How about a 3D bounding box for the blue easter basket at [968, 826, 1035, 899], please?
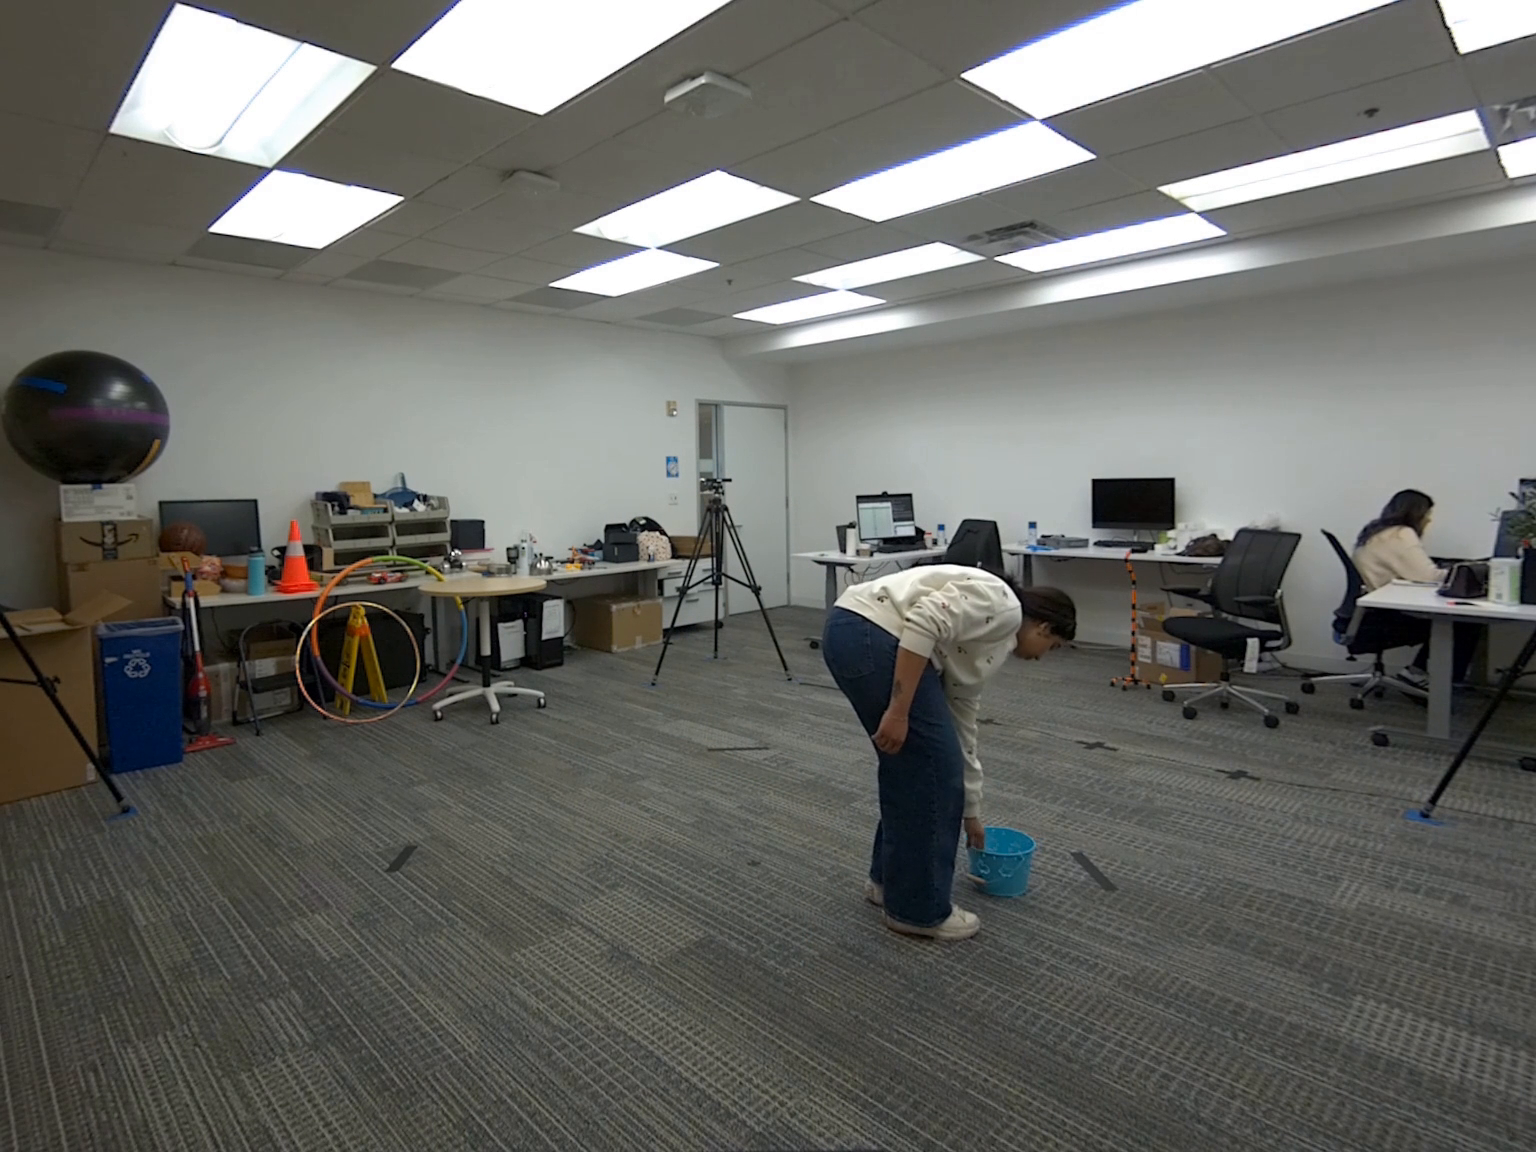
[{"bbox_3d":[0.787,0.971,2.916,0.243,0.155,0.245,-2,5,-2],"label":"blue easter basket"}]
